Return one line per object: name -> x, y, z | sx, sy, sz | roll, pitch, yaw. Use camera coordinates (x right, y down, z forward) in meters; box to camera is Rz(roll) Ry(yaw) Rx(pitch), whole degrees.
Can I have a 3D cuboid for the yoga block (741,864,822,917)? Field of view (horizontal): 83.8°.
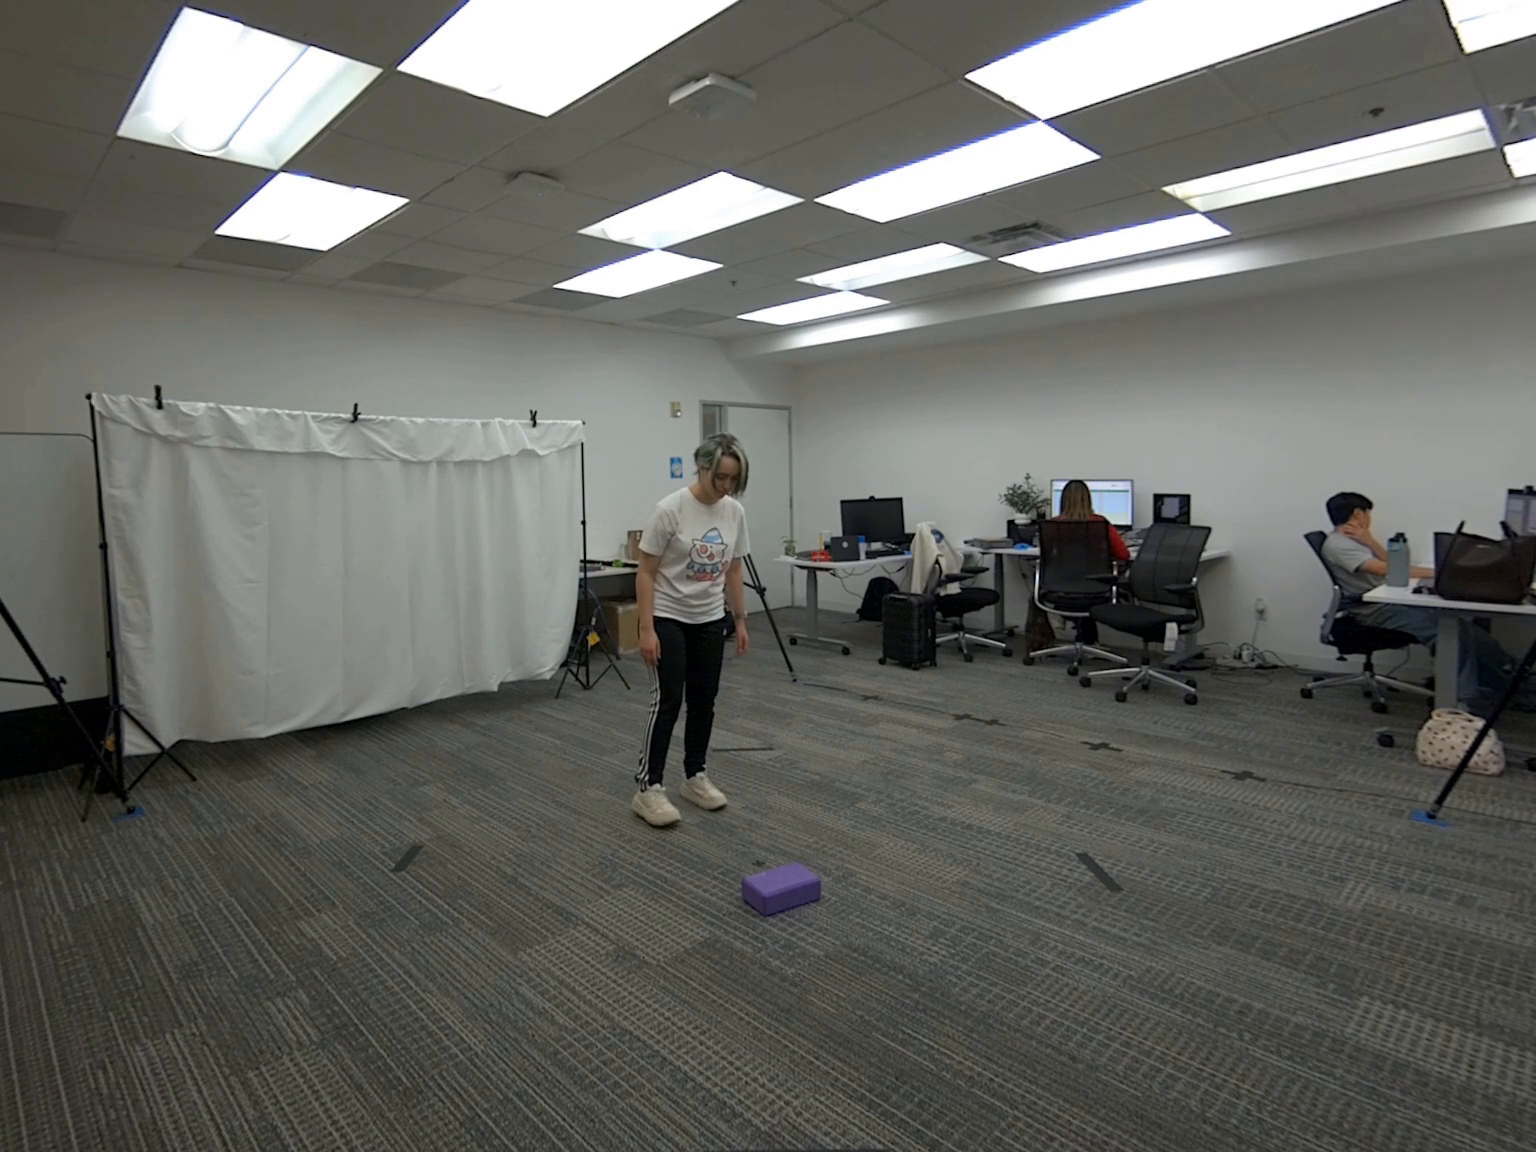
yoga block -> 0.048, 1.037, 2.835 | 0.224, 0.076, 0.153 | -4, 7, -30
